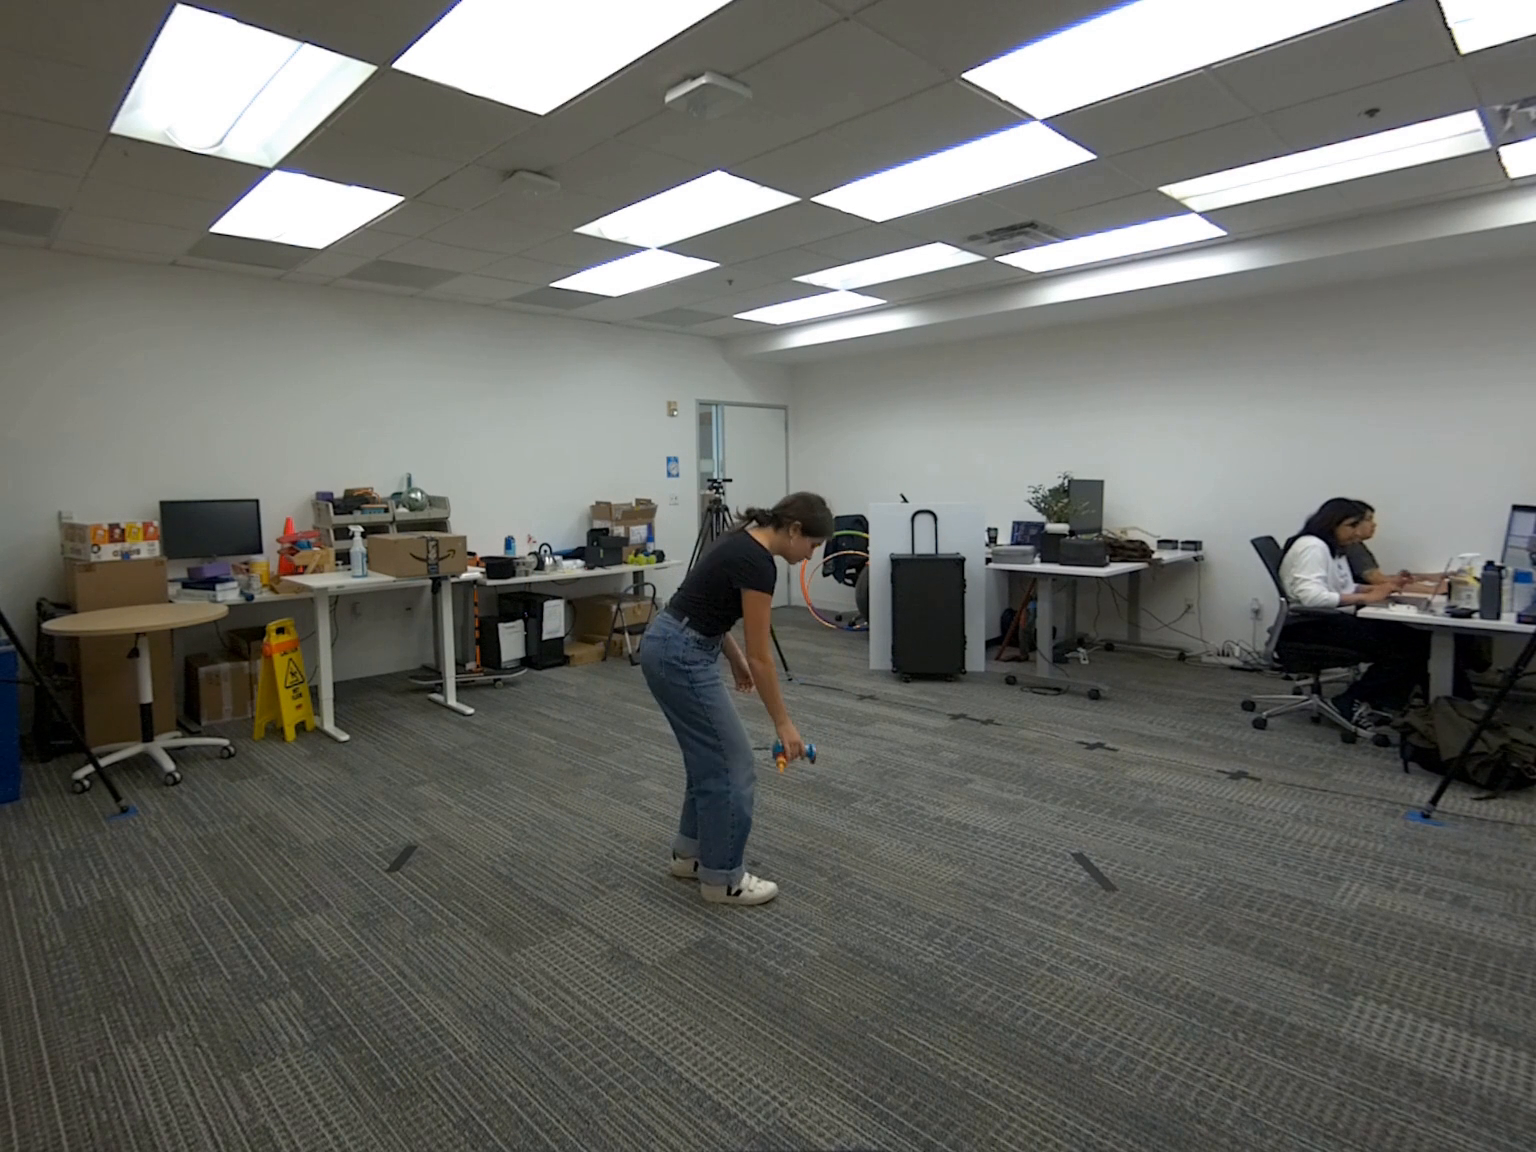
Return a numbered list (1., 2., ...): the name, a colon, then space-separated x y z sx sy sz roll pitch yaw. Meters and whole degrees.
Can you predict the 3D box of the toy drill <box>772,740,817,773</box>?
1. toy drill: 0.090 0.583 2.787 0.146 0.060 0.172 8 26 1
